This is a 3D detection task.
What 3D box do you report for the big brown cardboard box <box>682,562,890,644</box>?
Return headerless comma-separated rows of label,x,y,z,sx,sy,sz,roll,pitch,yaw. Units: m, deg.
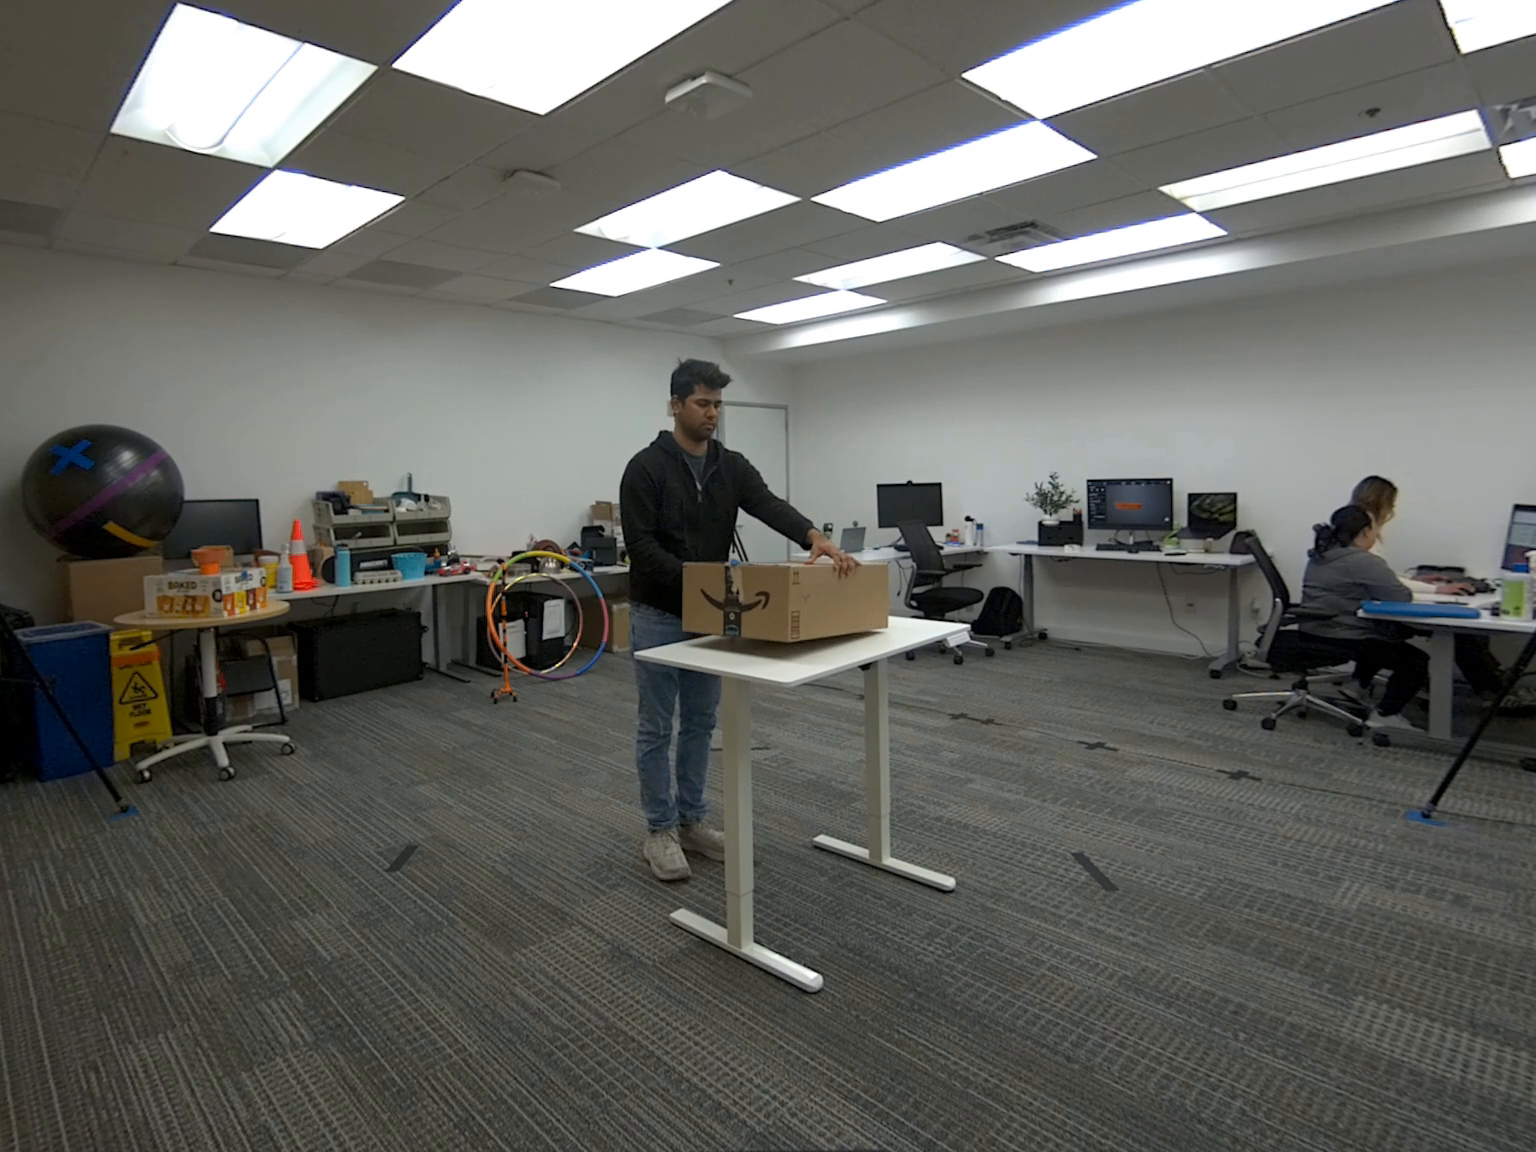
big brown cardboard box,0.064,0.064,2.744,0.430,0.233,0.573,2,3,39
